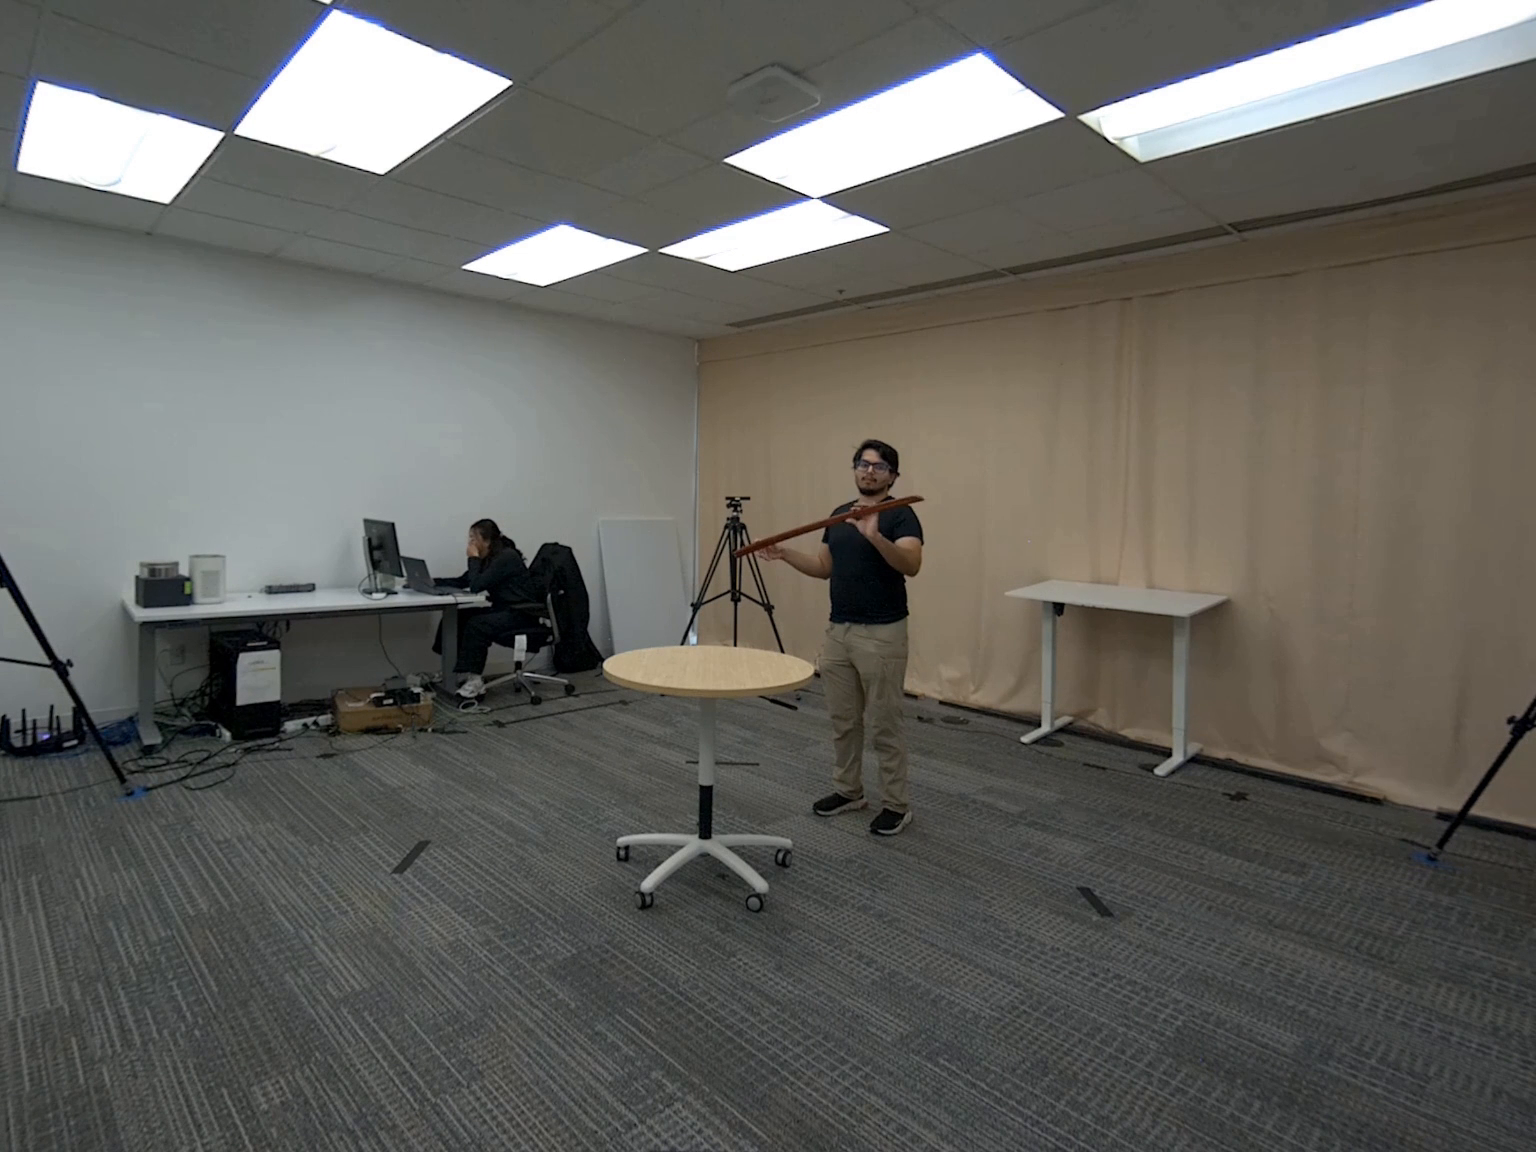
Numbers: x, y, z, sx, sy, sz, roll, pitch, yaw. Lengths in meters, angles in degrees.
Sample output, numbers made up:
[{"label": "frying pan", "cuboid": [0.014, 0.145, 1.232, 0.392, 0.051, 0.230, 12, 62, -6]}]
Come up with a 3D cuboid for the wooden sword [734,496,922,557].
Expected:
[{"label": "wooden sword", "cuboid": [0.154, -0.191, 3.449, 0.050, 0.024, 1.042, 3, -12, -44]}]
